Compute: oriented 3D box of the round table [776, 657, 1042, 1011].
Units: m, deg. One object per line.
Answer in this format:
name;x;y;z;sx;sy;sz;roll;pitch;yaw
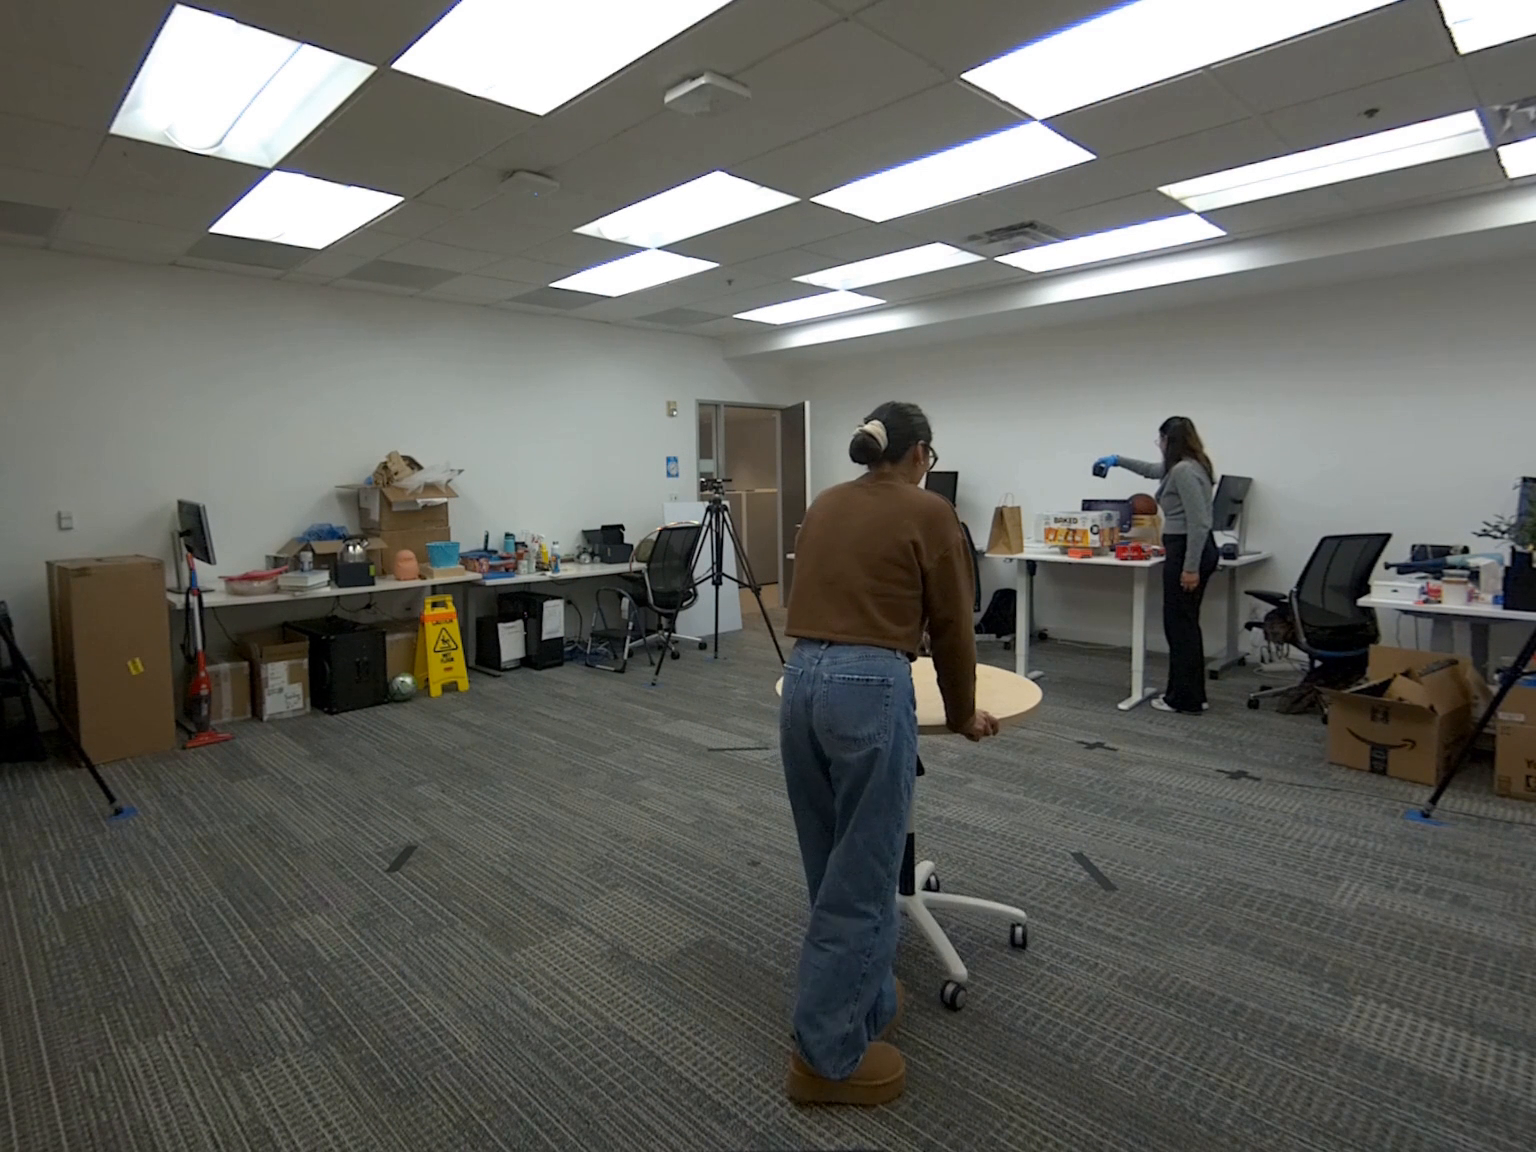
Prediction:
round table;0.426;0.717;2.559;0.763;0.790;0.768;-1;5;-2
